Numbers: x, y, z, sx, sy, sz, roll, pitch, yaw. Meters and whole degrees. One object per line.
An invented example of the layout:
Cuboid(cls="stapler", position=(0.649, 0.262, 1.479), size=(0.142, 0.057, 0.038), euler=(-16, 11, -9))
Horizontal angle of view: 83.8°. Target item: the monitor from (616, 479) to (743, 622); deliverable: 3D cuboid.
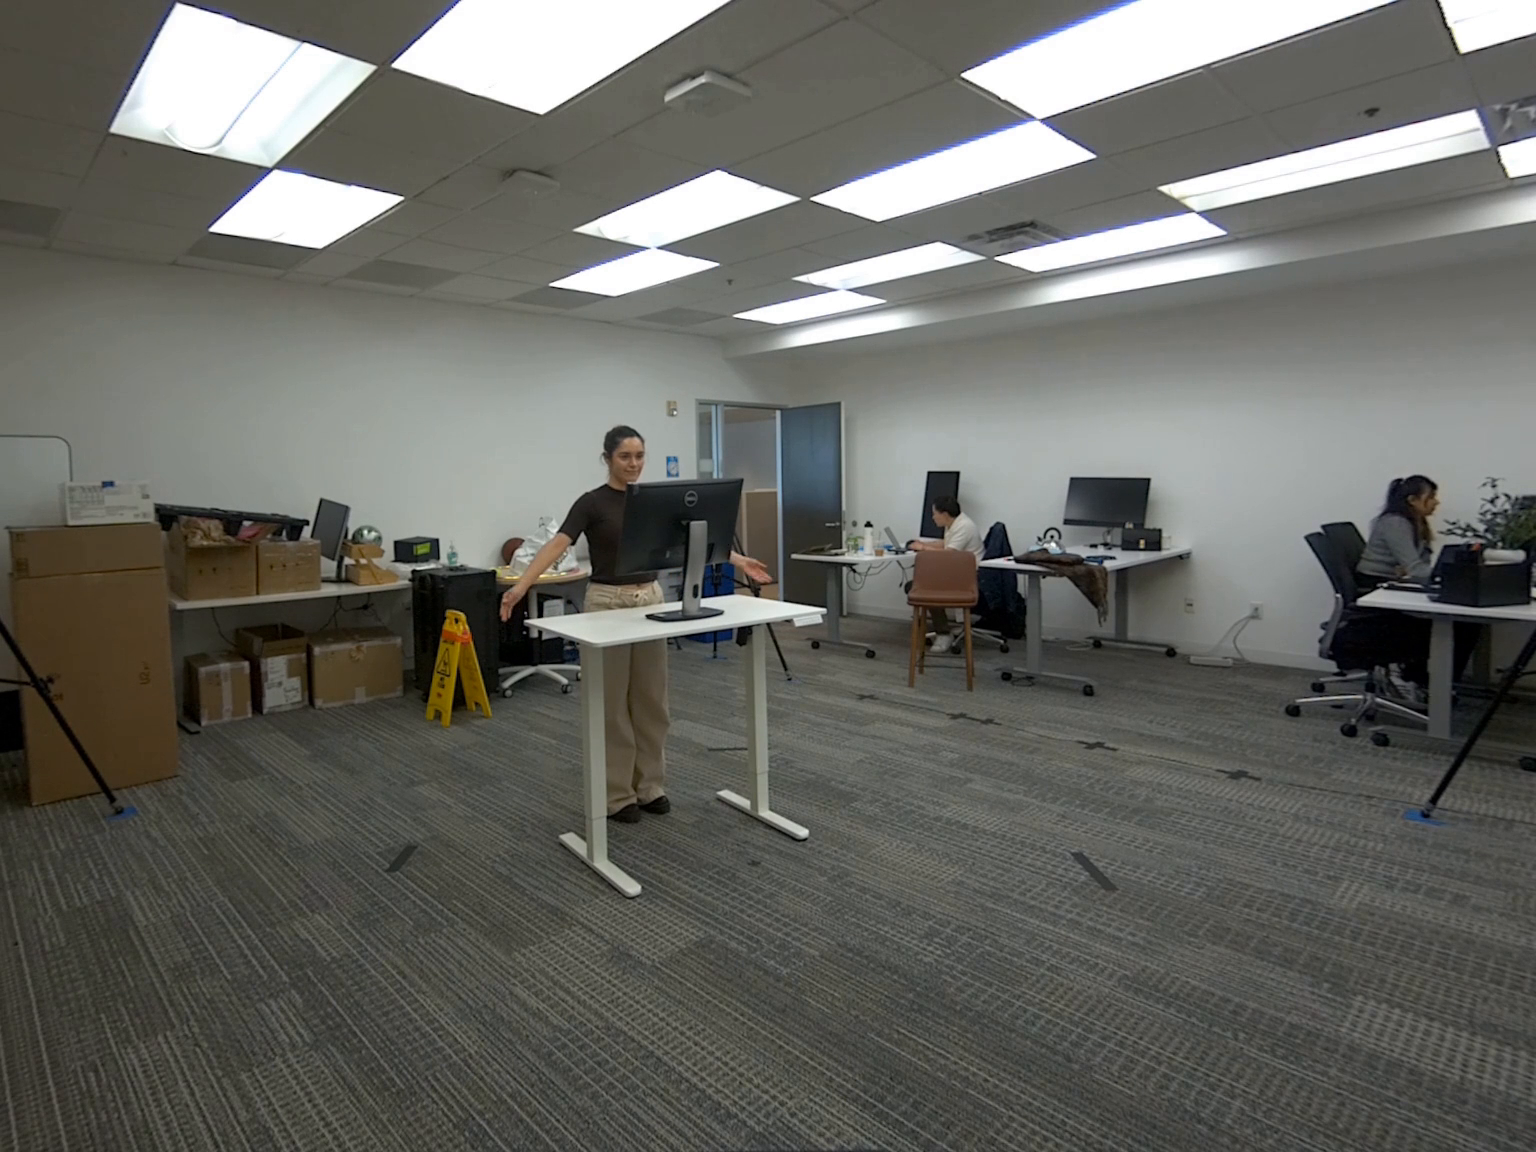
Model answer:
Cuboid(cls="monitor", position=(-0.304, -0.100, 3.208), size=(0.525, 0.519, 0.193), euler=(-8, 11, -43))
